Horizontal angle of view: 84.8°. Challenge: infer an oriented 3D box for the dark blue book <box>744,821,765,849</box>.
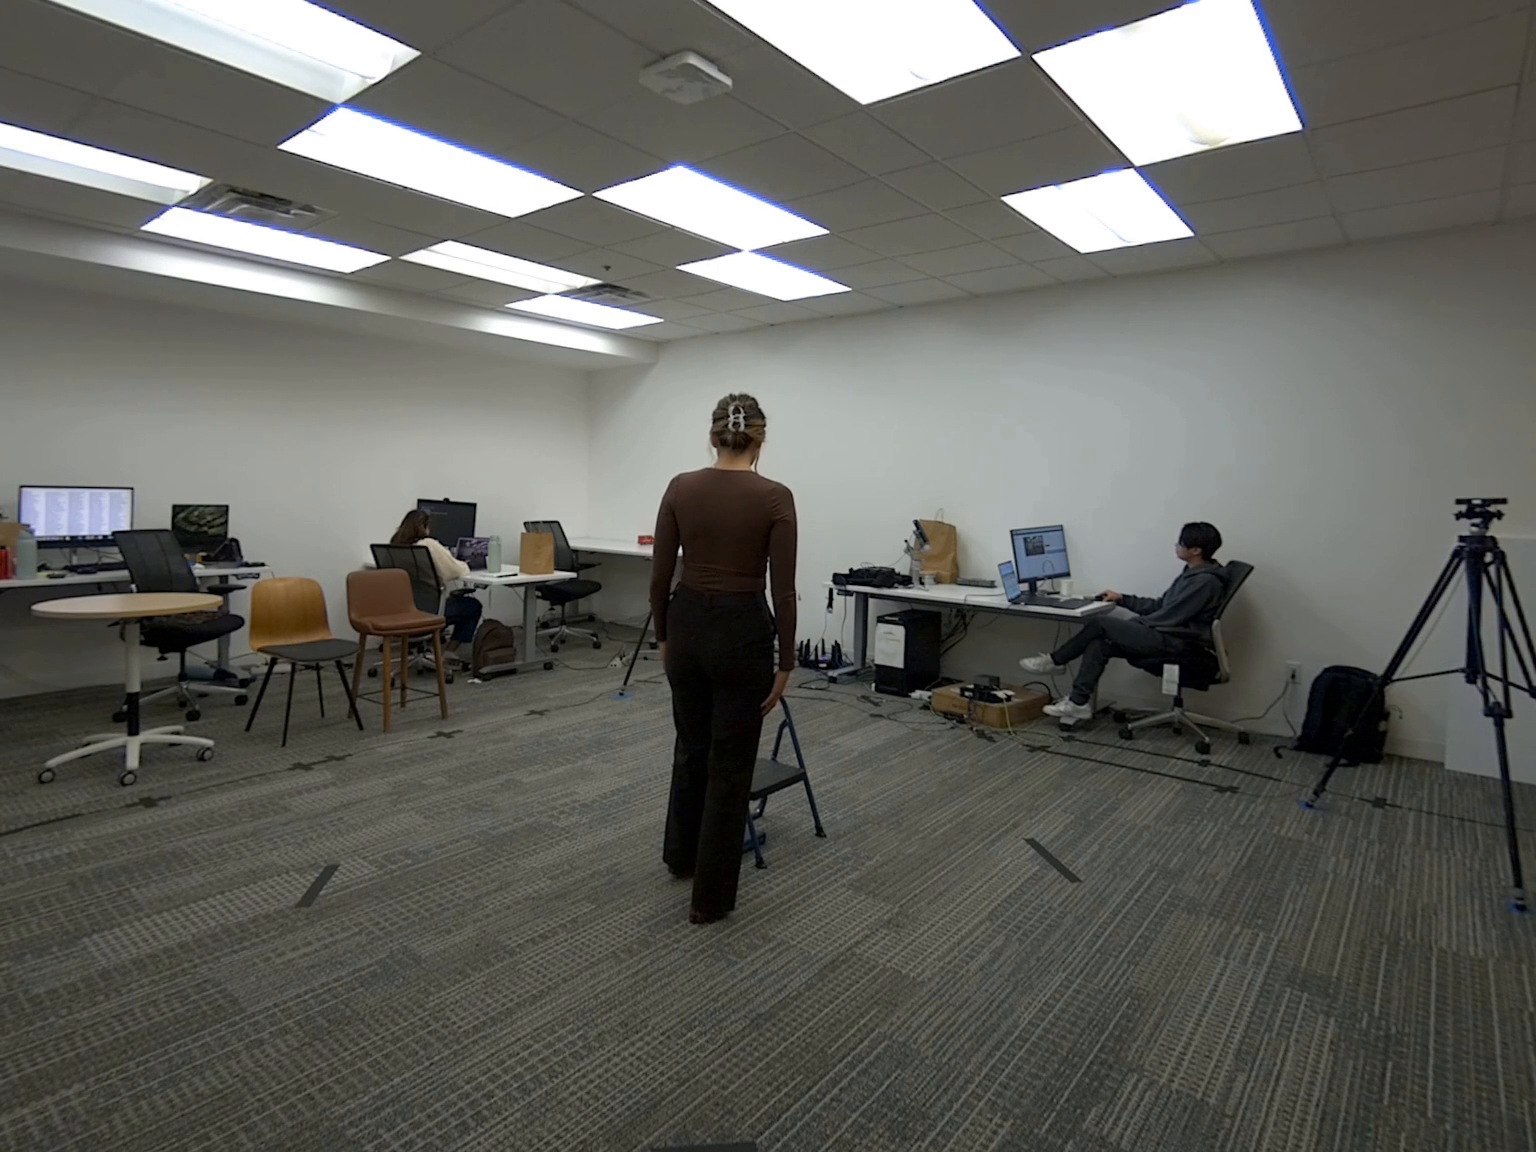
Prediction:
[{"bbox_3d":[-0.156,1.023,3.300,0.169,0.045,0.238,4,6,38],"label":"dark blue book"}]
